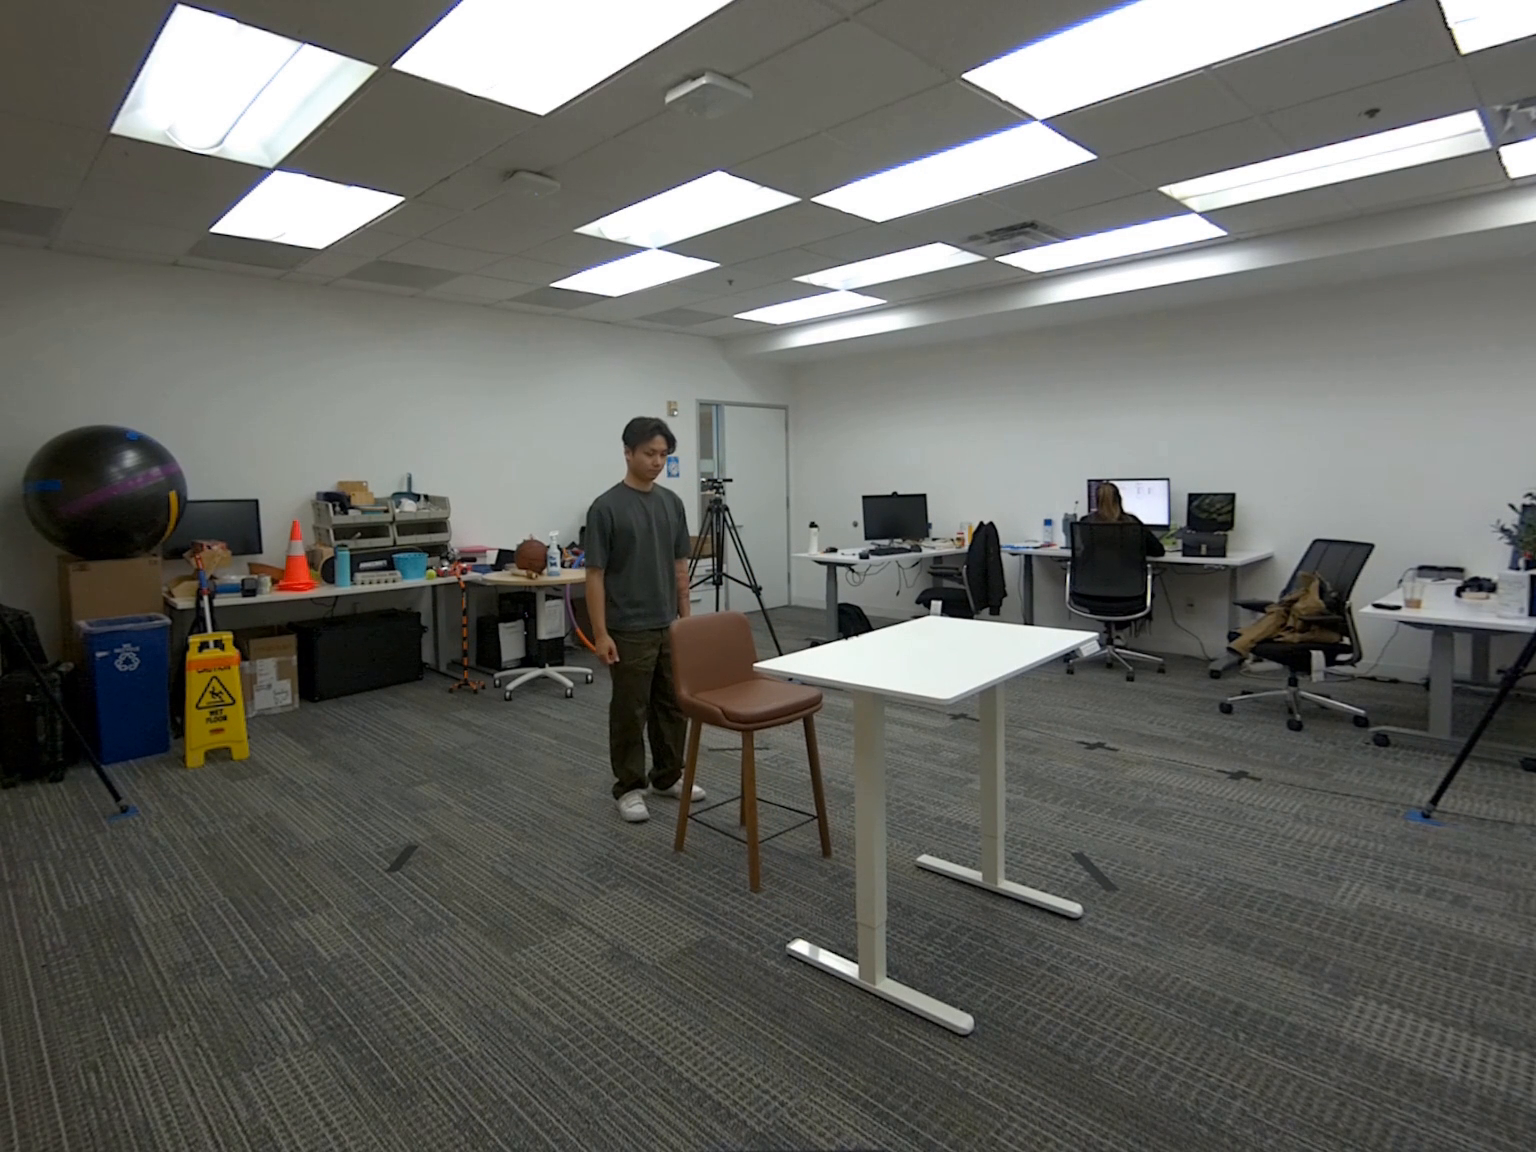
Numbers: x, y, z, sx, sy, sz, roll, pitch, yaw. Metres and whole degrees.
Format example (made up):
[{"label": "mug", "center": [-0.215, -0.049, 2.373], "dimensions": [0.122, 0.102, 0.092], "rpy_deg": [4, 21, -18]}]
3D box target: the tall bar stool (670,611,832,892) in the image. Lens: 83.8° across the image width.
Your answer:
[{"label": "tall bar stool", "center": [-0.077, 0.599, 3.169], "dimensions": [0.444, 0.888, 0.481], "rpy_deg": [-4, 4, -44]}]
